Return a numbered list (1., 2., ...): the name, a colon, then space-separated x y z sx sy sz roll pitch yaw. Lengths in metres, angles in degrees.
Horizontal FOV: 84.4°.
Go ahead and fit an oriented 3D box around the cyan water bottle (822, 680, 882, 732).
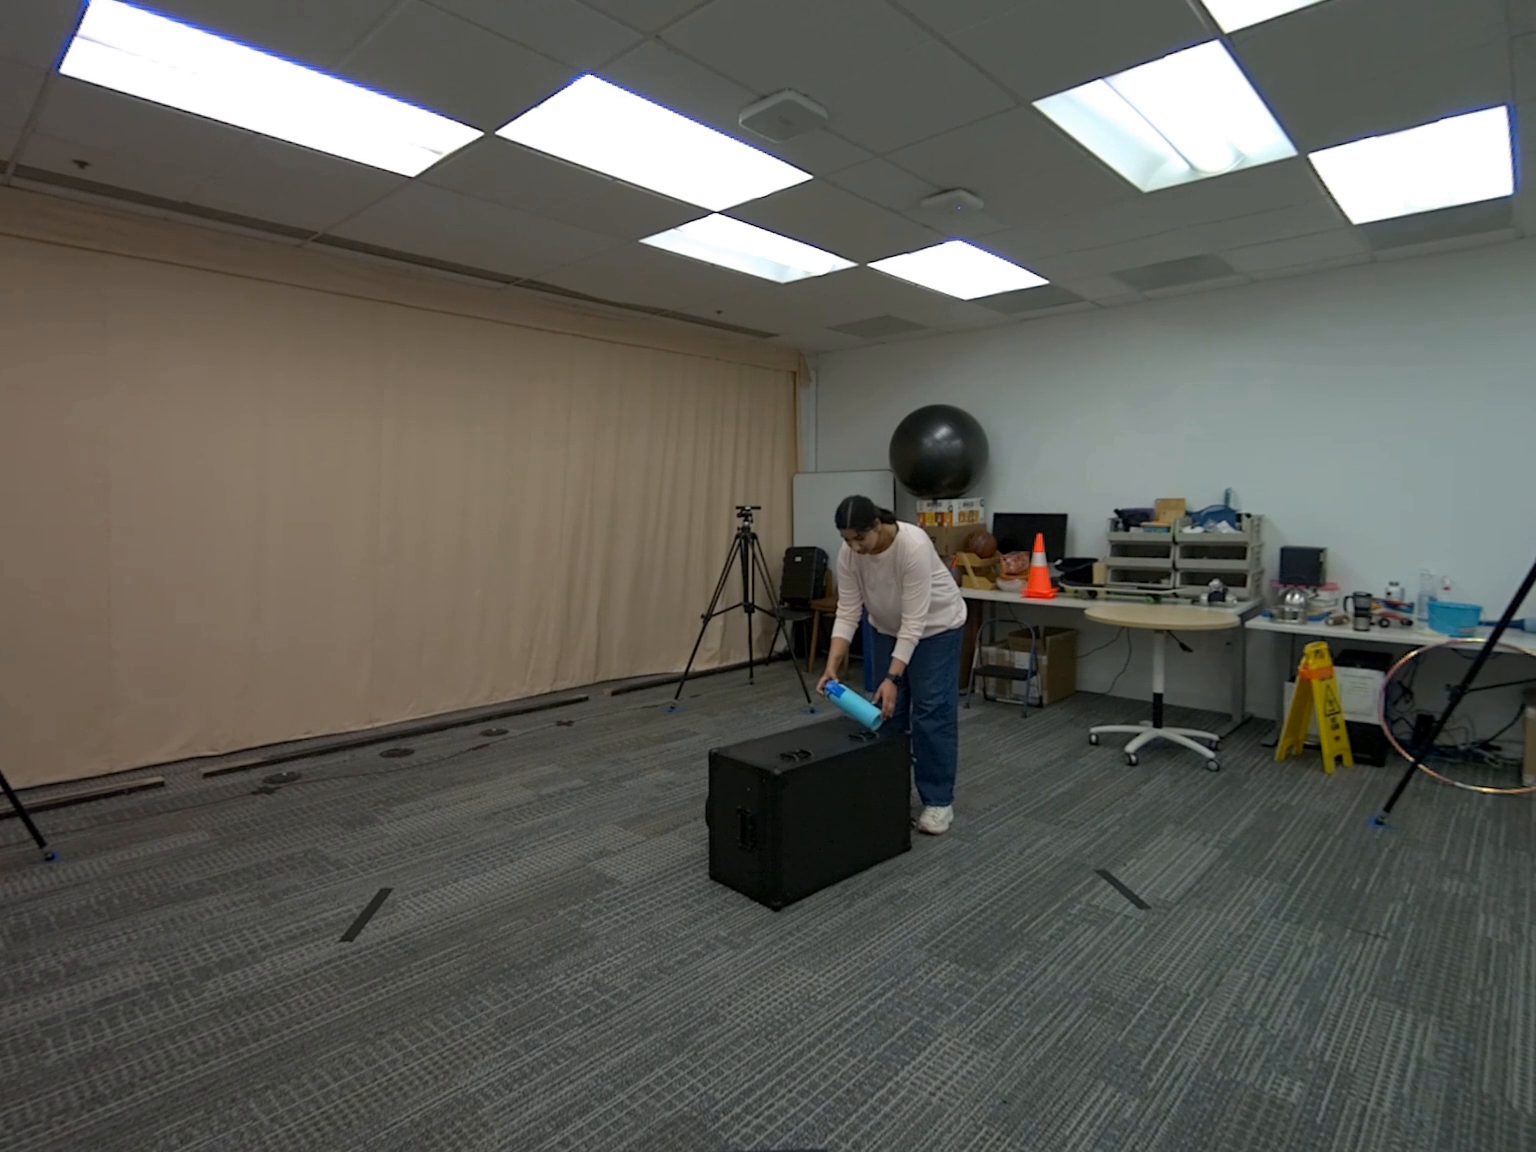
1. cyan water bottle: 0.348 0.524 3.459 0.293 0.092 0.089 34 24 35
